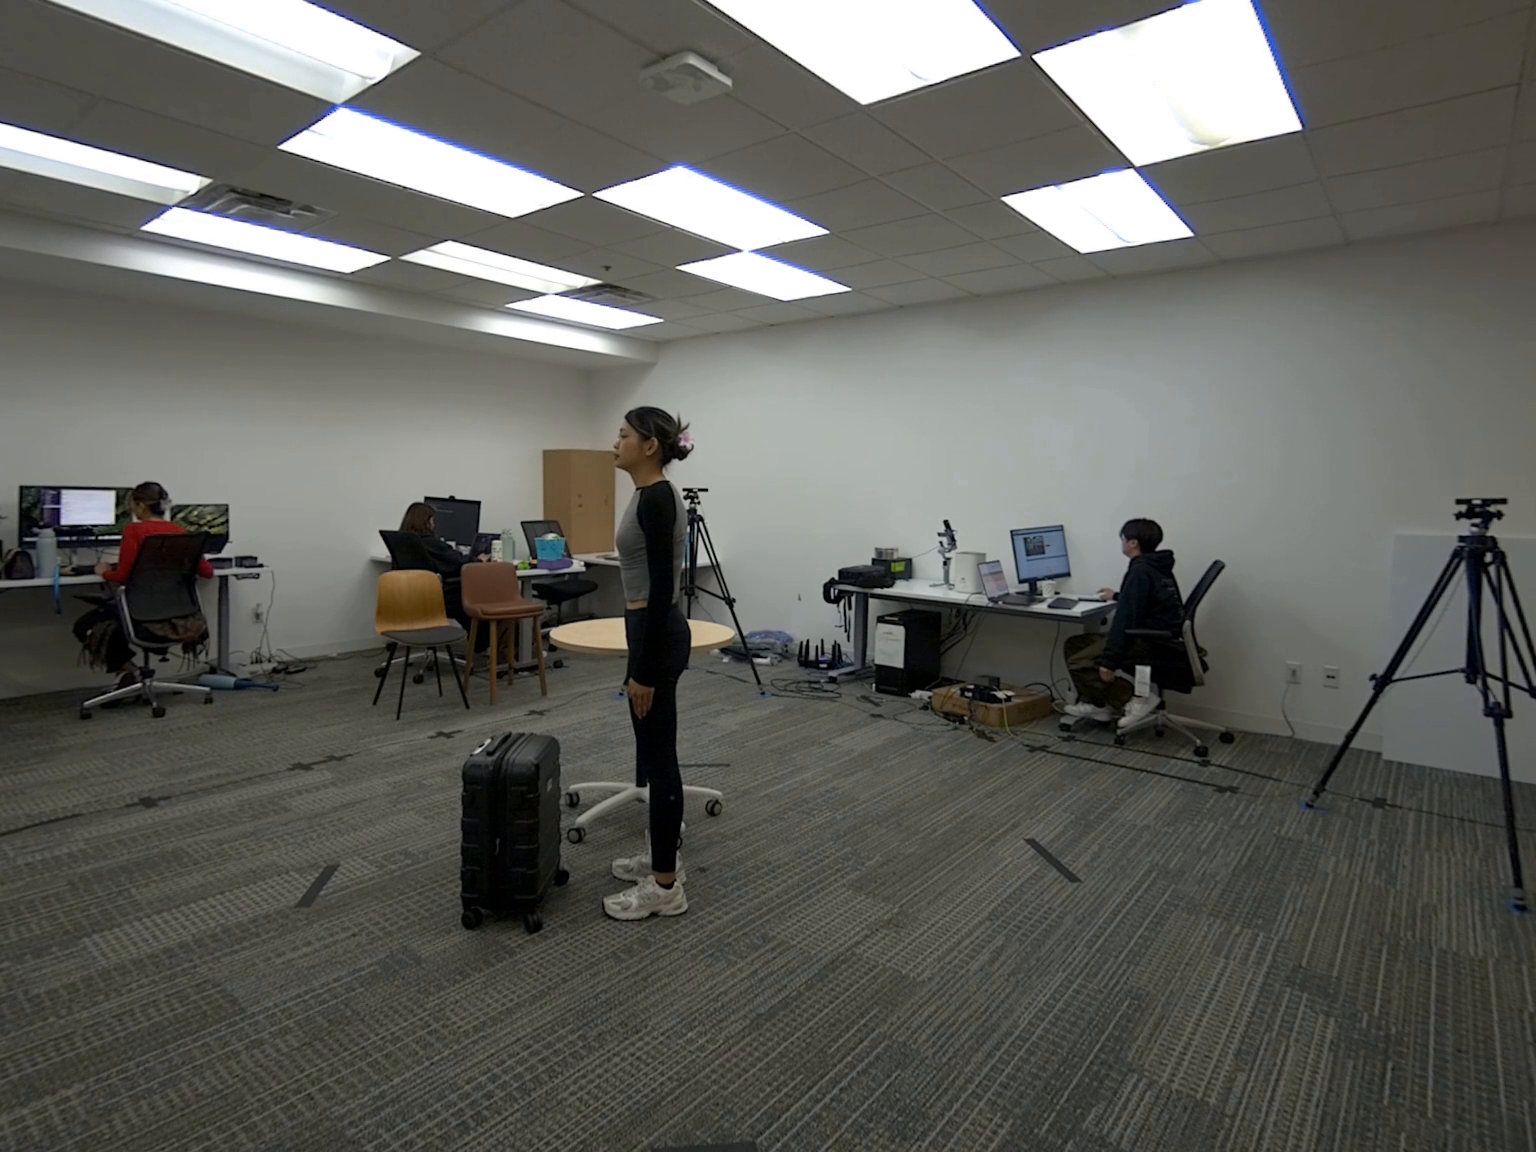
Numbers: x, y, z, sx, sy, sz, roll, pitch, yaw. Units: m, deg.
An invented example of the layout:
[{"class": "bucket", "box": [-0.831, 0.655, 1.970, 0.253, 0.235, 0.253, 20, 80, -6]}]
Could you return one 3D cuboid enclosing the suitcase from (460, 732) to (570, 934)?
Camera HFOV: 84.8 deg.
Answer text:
[{"class": "suitcase", "box": [-0.852, 0.813, 2.817, 0.249, 0.548, 0.375, 0, 3, 2]}]
